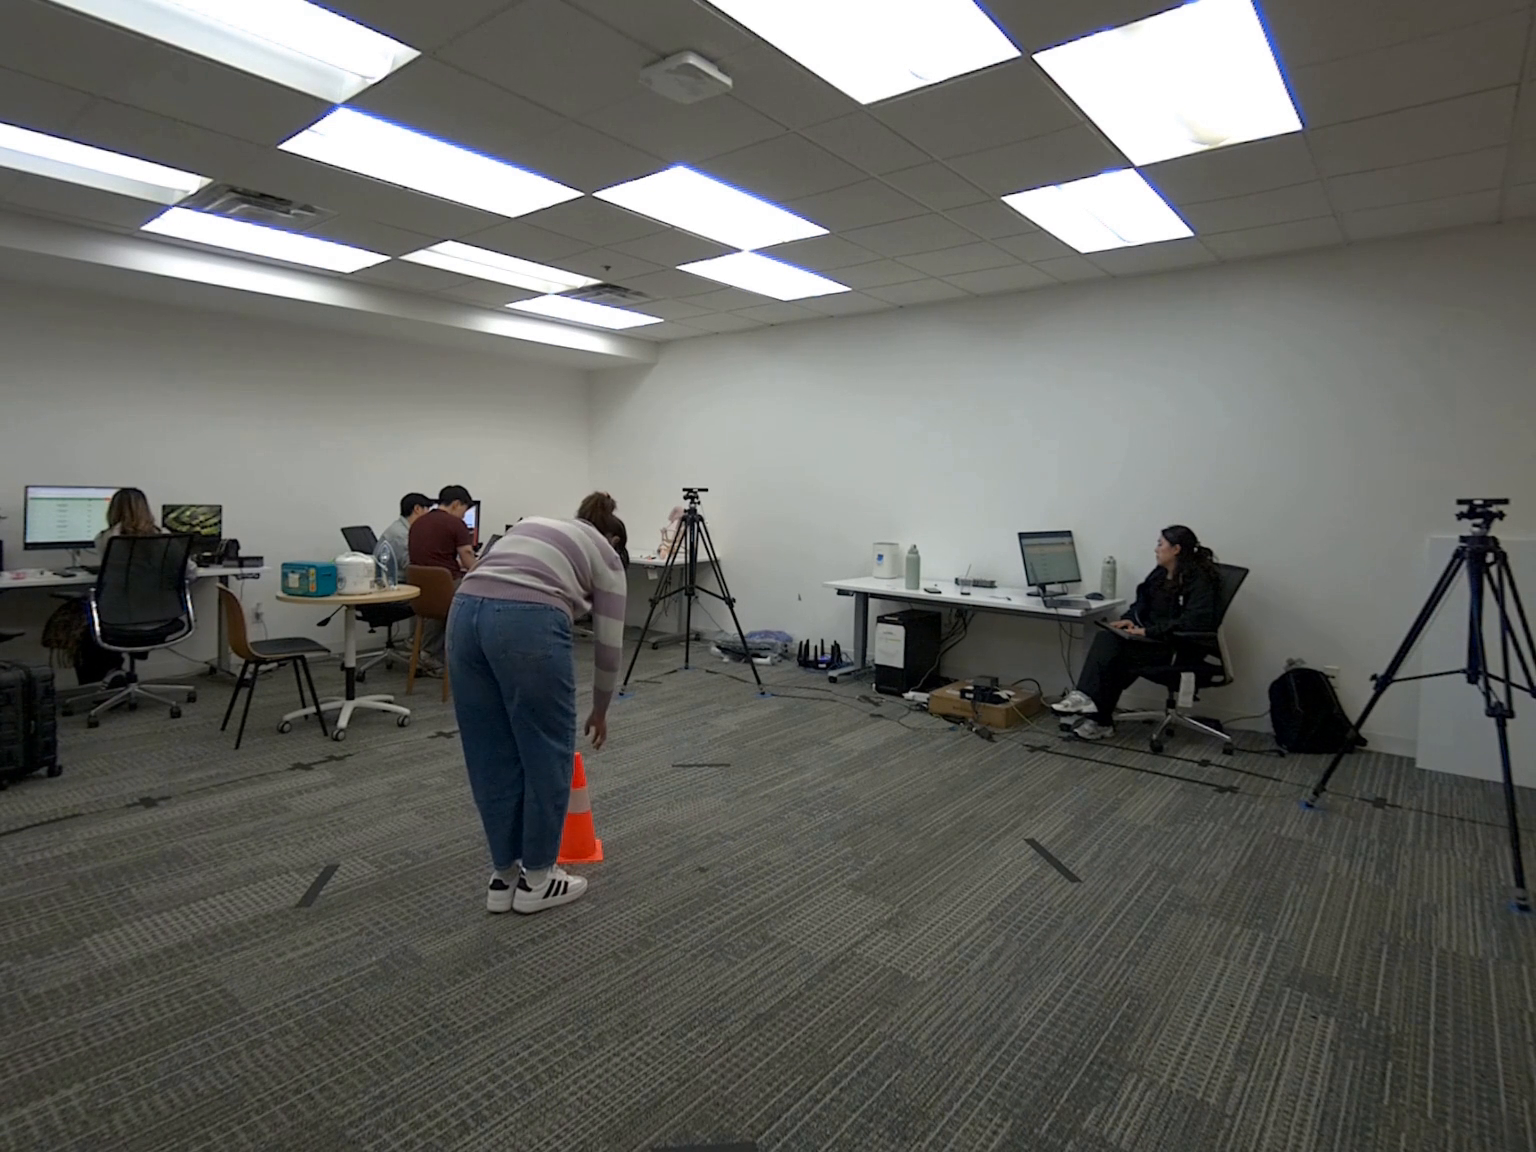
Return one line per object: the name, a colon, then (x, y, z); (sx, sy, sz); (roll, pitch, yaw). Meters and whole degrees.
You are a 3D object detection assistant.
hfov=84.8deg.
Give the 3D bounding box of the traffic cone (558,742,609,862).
traffic cone: (-0.736, 0.859, 3.229); (0.200, 0.383, 0.208); (3, 2, -14)
